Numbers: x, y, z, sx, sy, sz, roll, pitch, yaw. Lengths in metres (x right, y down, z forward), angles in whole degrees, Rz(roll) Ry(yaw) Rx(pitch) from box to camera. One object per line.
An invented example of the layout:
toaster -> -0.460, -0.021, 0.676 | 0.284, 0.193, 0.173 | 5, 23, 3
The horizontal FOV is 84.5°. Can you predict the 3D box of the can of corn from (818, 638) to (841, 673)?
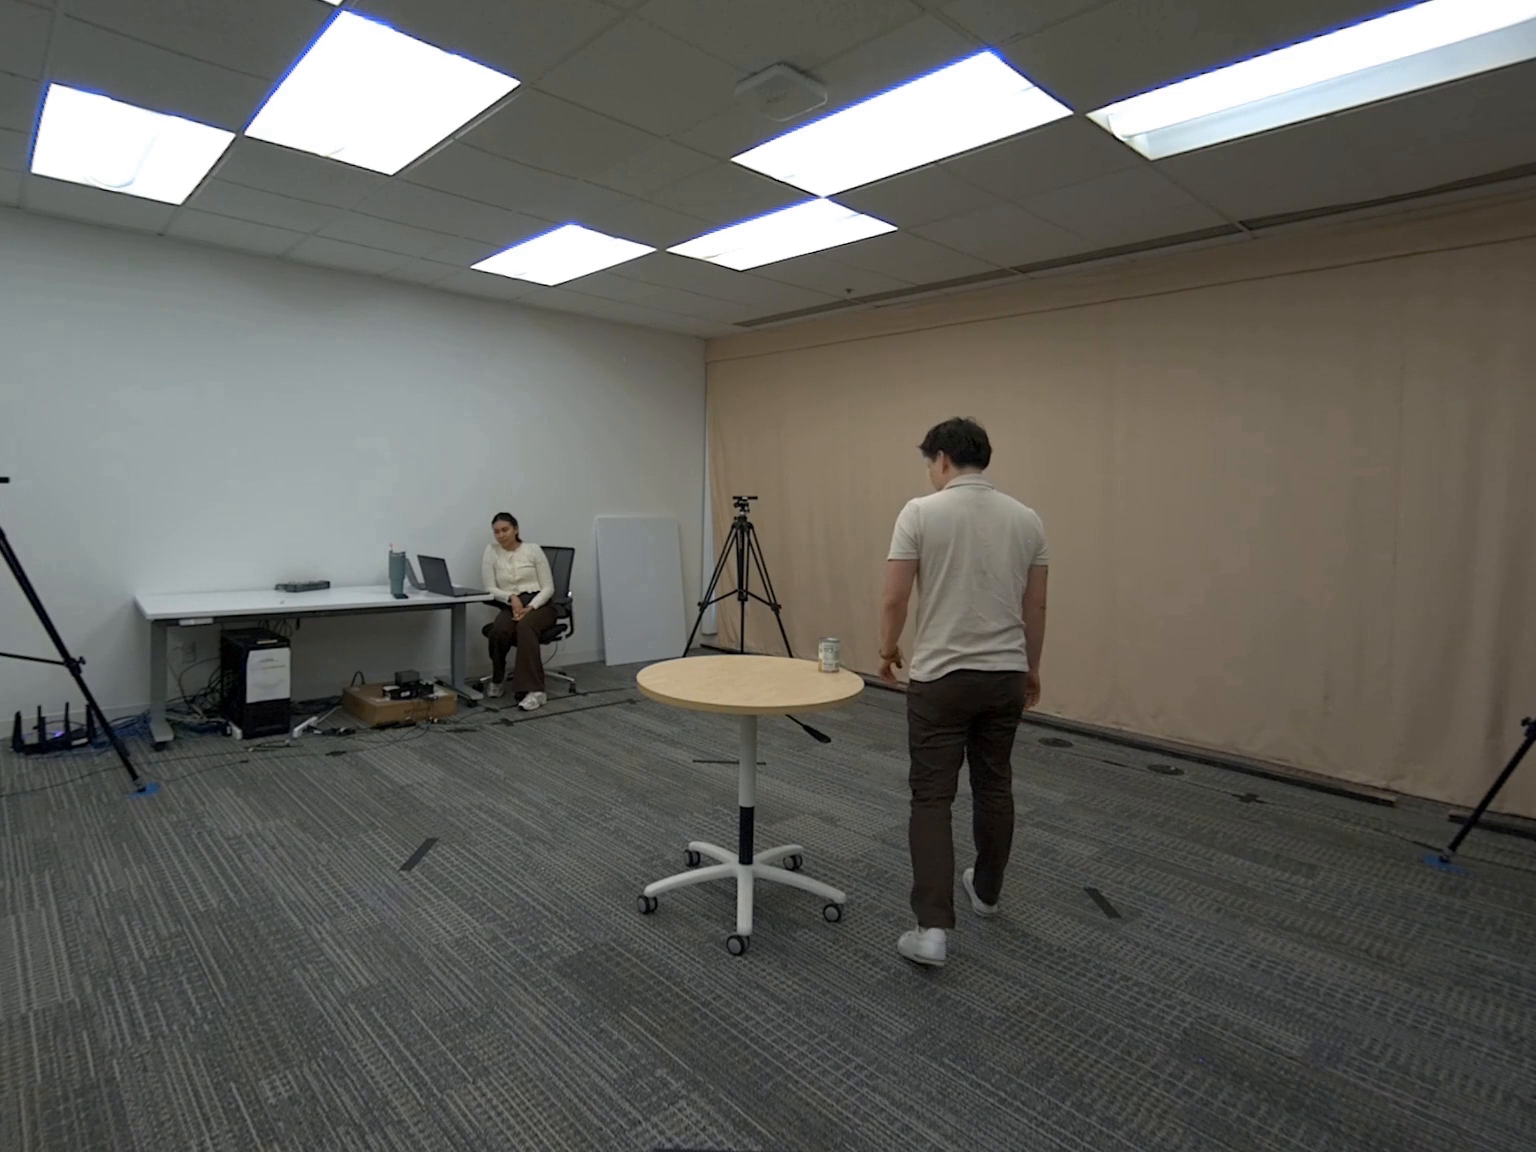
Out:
can of corn -> 0.212, 0.282, 2.982 | 0.074, 0.111, 0.074 | 3, 3, -2
